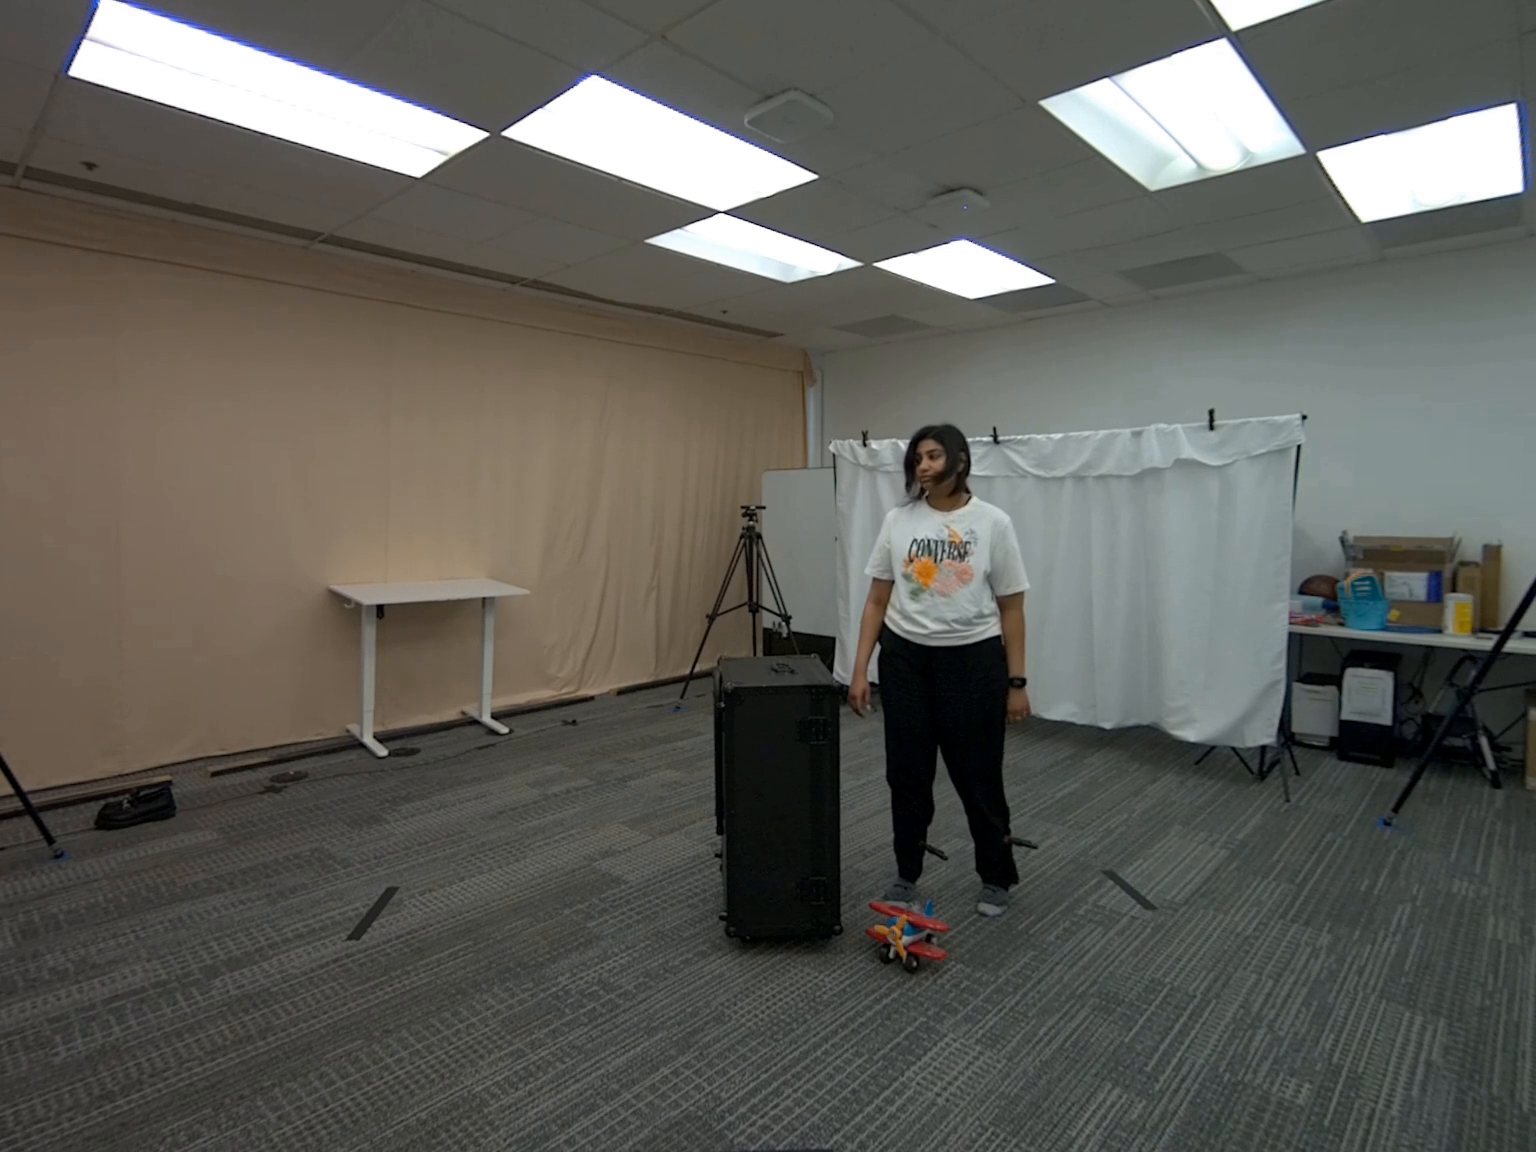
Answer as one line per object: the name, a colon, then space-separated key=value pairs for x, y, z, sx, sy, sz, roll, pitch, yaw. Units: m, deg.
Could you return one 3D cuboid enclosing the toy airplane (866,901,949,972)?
toy airplane: x=0.437 y=1.106 z=2.600 sx=0.254 sy=0.156 sz=0.257 roll=1 pitch=6 yaw=10
